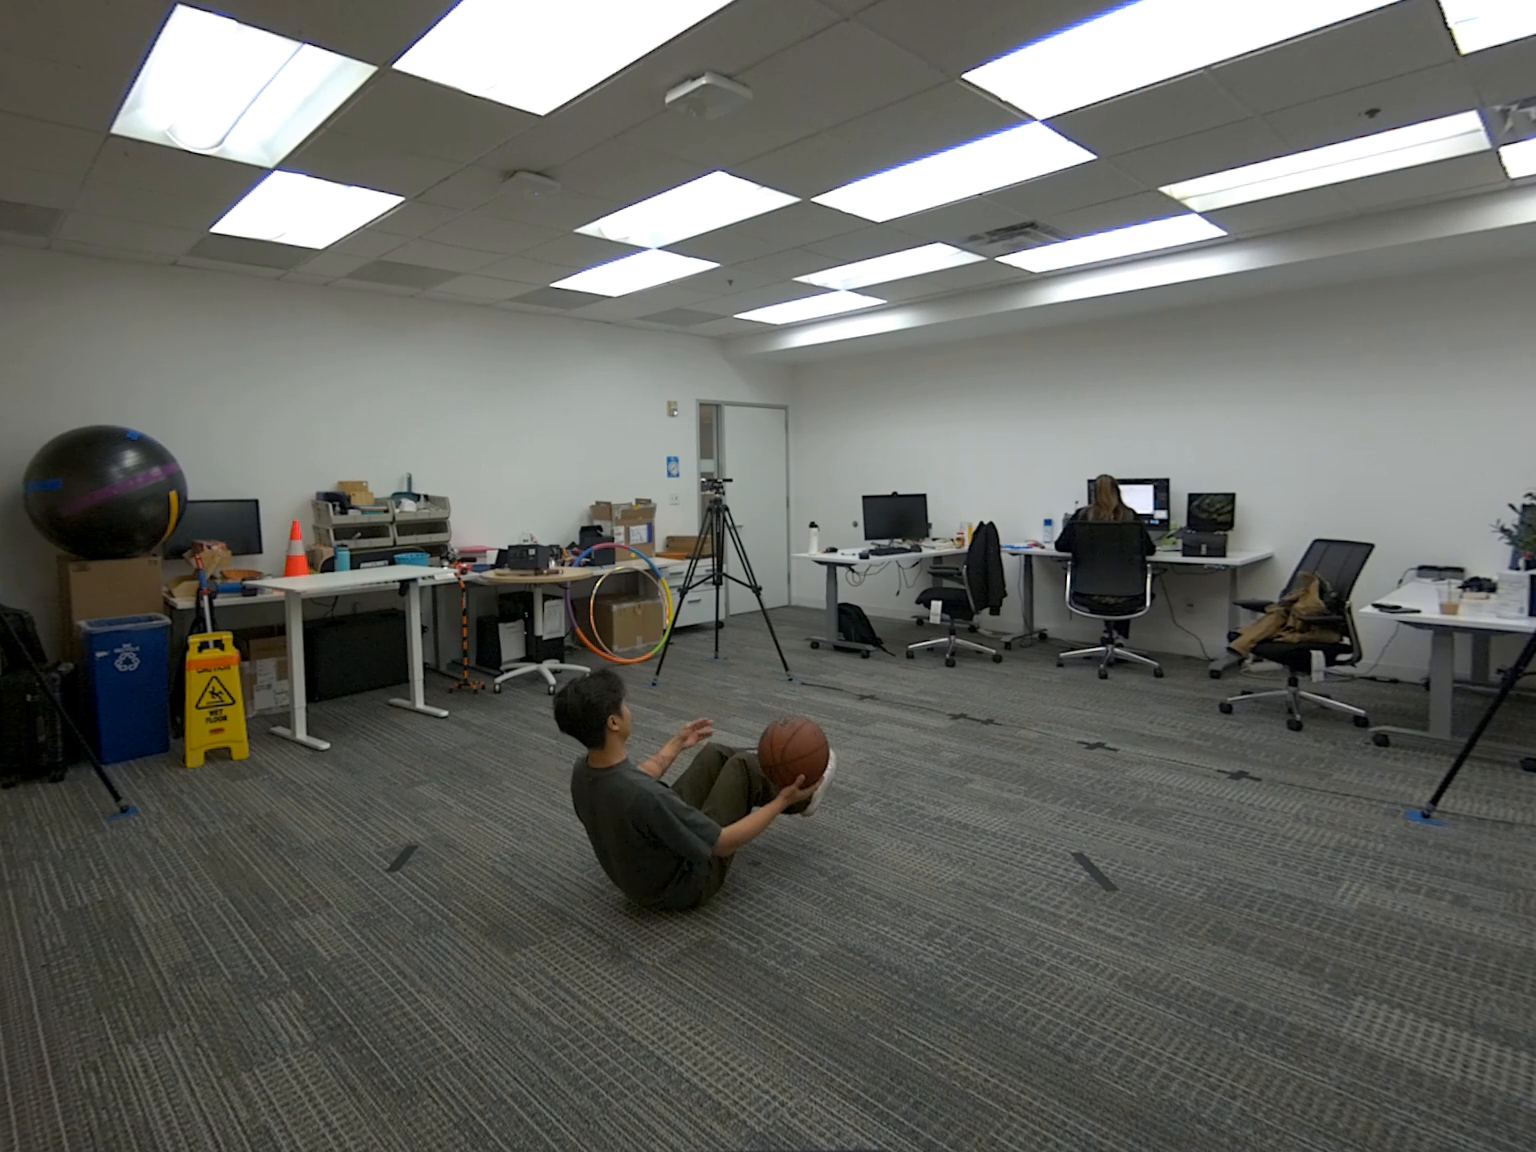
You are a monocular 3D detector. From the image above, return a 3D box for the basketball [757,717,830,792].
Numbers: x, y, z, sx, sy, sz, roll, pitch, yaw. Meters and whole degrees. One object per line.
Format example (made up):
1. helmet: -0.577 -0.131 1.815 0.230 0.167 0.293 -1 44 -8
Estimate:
1. basketball: 0.083 0.593 2.837 0.236 0.235 0.237 -1 5 -2
